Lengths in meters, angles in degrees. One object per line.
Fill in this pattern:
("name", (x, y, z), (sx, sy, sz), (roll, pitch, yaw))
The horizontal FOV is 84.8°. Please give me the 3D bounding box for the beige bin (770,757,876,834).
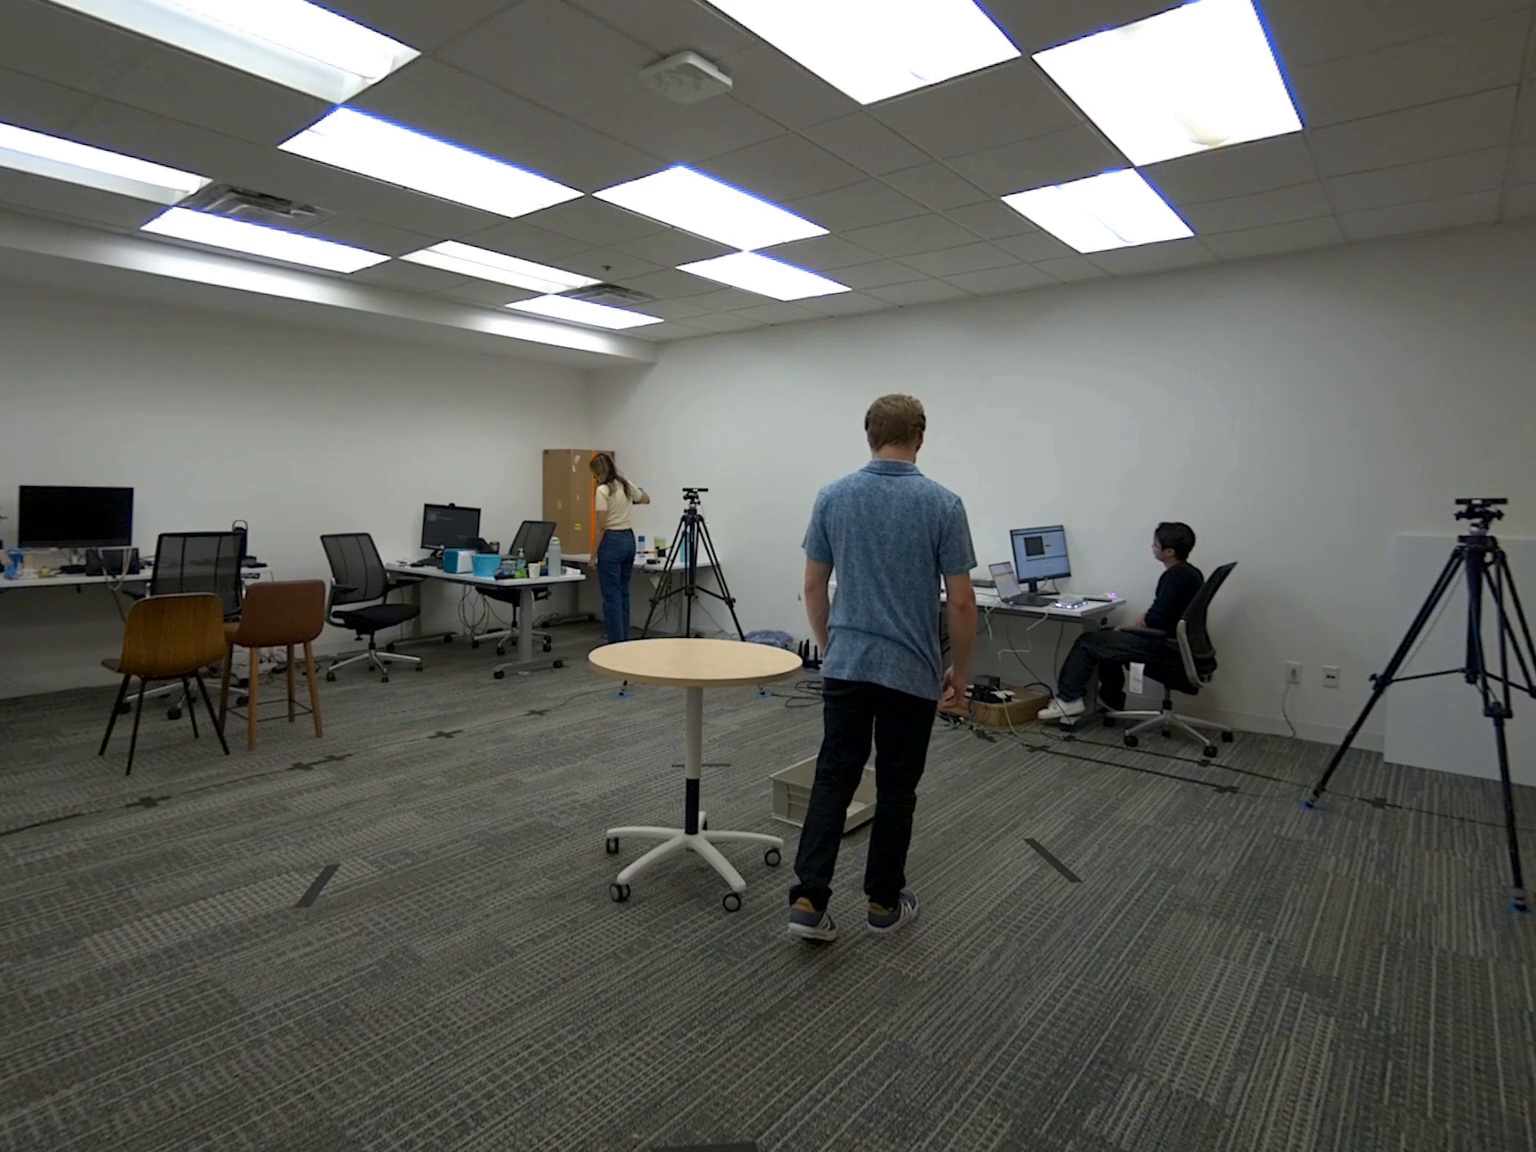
("beige bin", (0.267, 0.936, 3.660), (0.389, 0.188, 0.411), (4, 7, 36))
